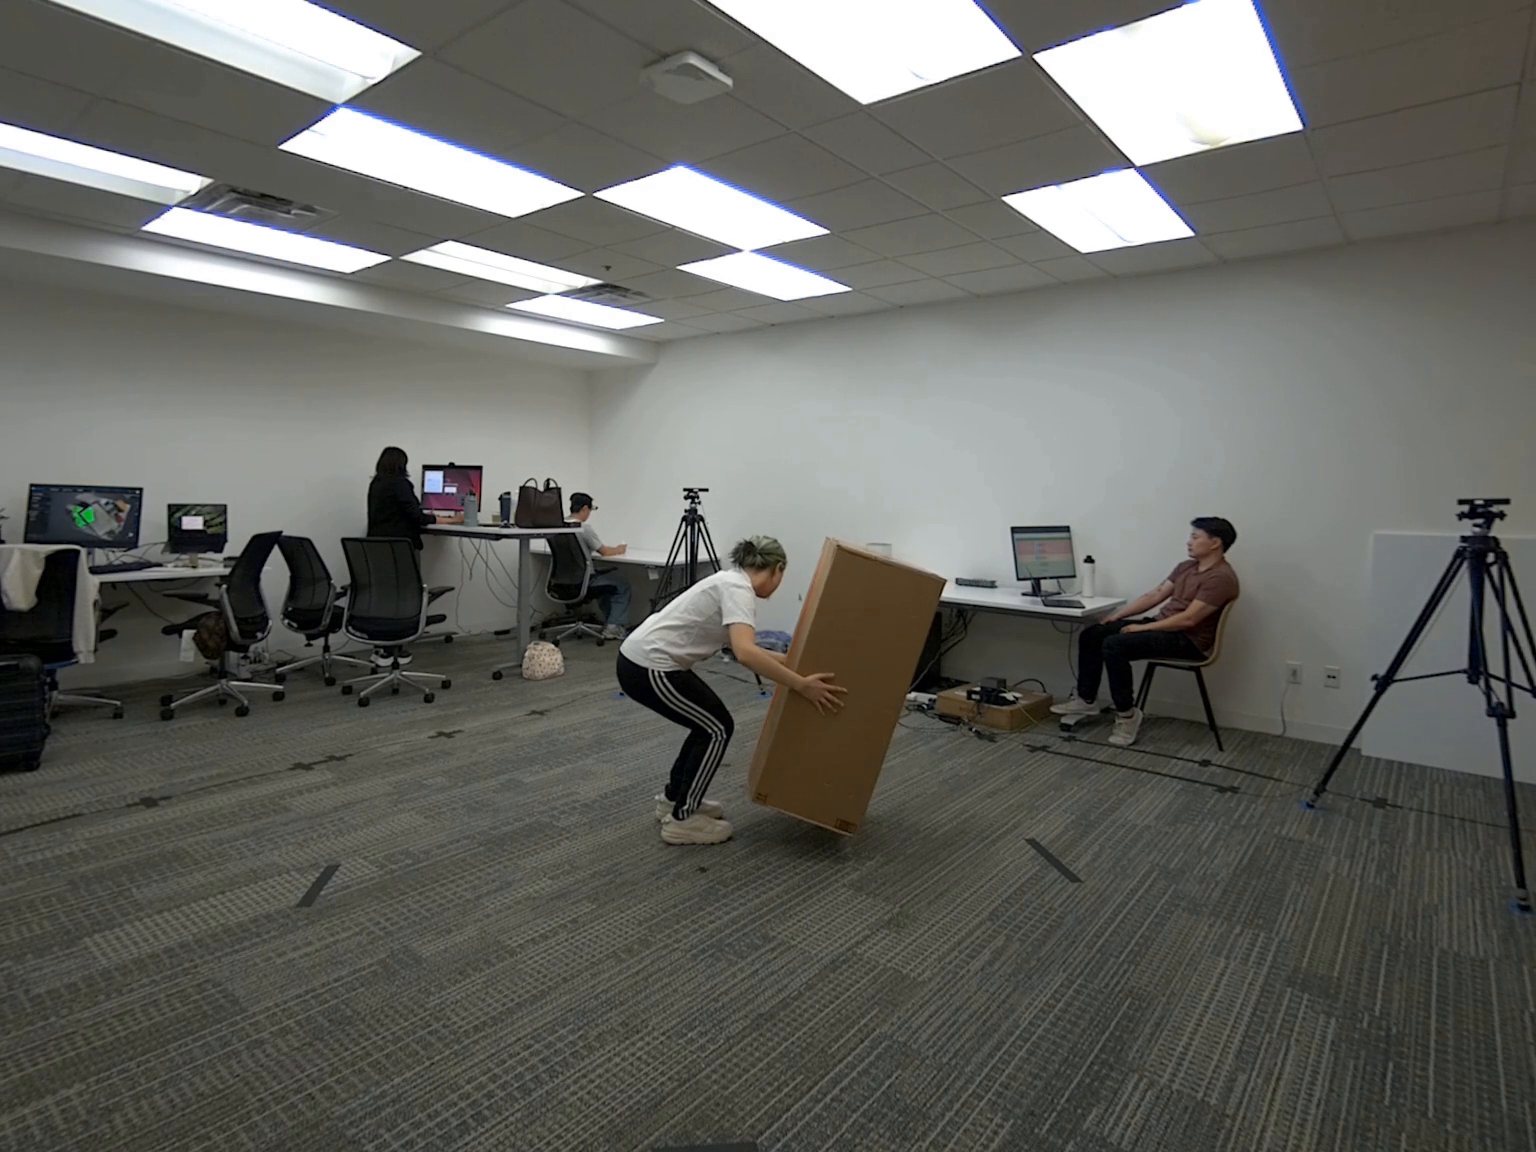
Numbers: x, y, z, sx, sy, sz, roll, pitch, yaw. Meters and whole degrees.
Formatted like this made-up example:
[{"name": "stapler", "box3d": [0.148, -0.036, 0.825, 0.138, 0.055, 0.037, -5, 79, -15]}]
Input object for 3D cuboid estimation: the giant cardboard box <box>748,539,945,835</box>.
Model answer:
[{"name": "giant cardboard box", "box3d": [0.283, 0.403, 3.424, 0.447, 1.025, 0.585, 19, 4, -1]}]
